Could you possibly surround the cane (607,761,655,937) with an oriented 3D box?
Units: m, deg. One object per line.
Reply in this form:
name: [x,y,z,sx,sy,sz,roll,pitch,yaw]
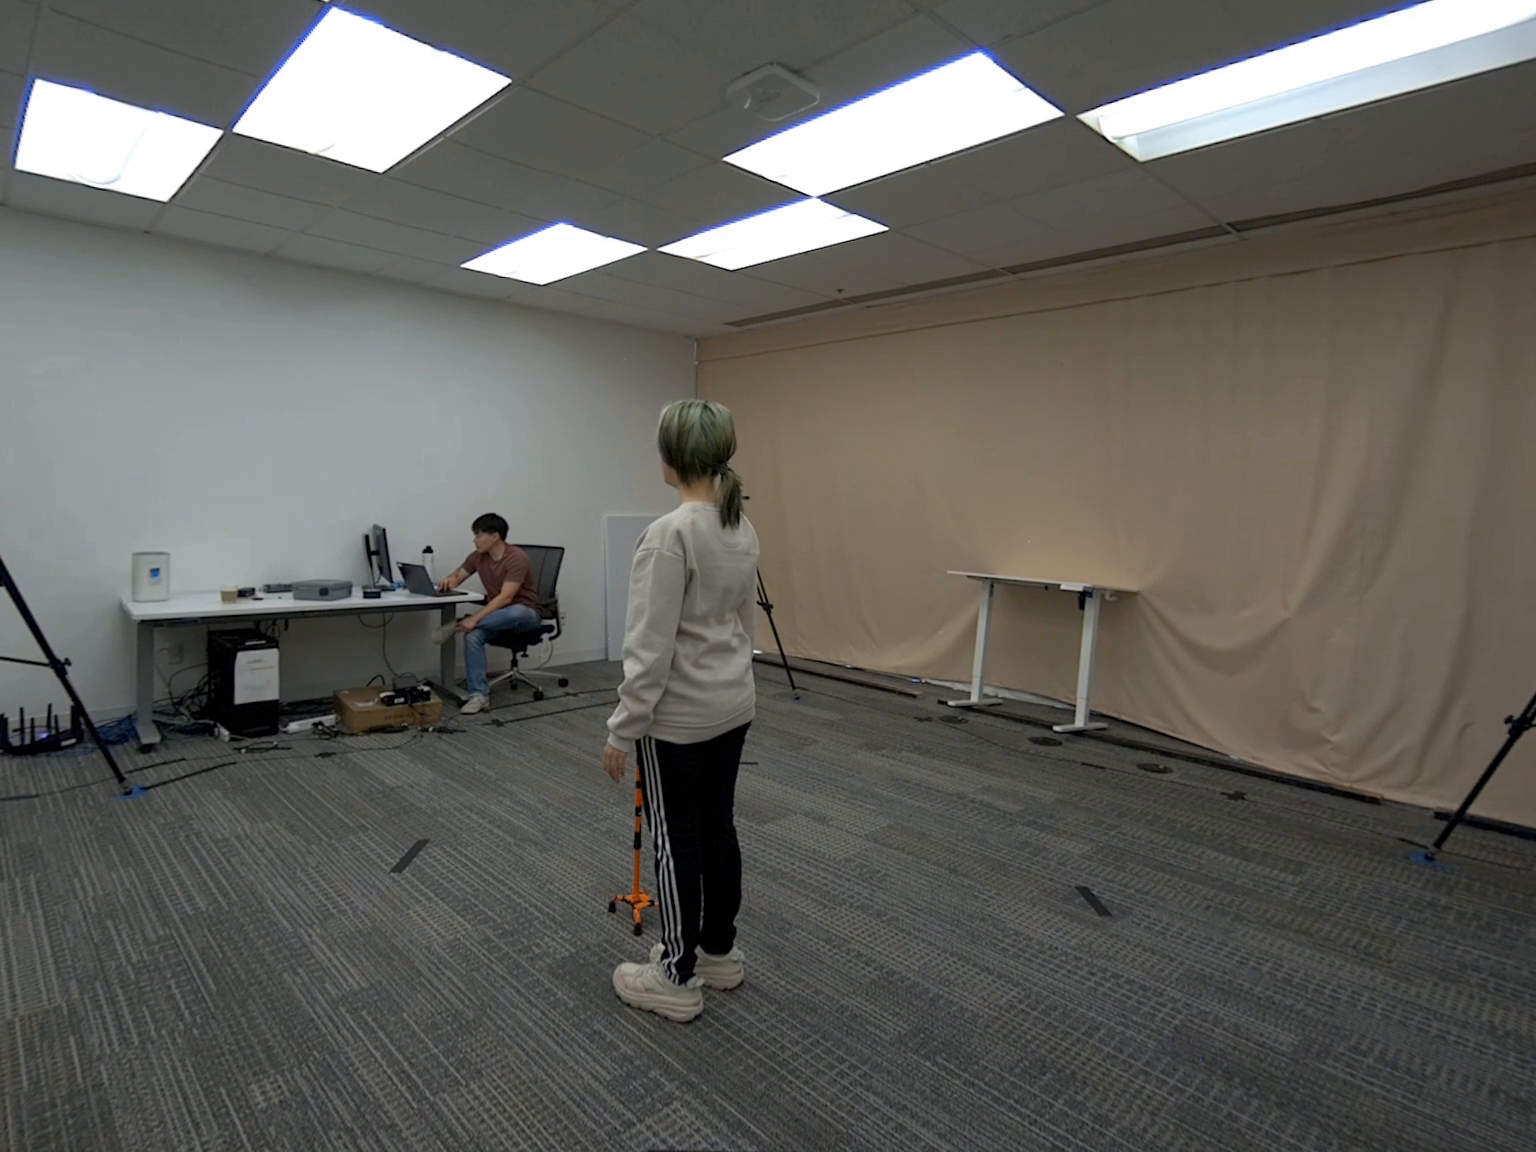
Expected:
cane: [-0.418,0.677,2.755,0.148,0.906,0.211,-1,3,-35]
